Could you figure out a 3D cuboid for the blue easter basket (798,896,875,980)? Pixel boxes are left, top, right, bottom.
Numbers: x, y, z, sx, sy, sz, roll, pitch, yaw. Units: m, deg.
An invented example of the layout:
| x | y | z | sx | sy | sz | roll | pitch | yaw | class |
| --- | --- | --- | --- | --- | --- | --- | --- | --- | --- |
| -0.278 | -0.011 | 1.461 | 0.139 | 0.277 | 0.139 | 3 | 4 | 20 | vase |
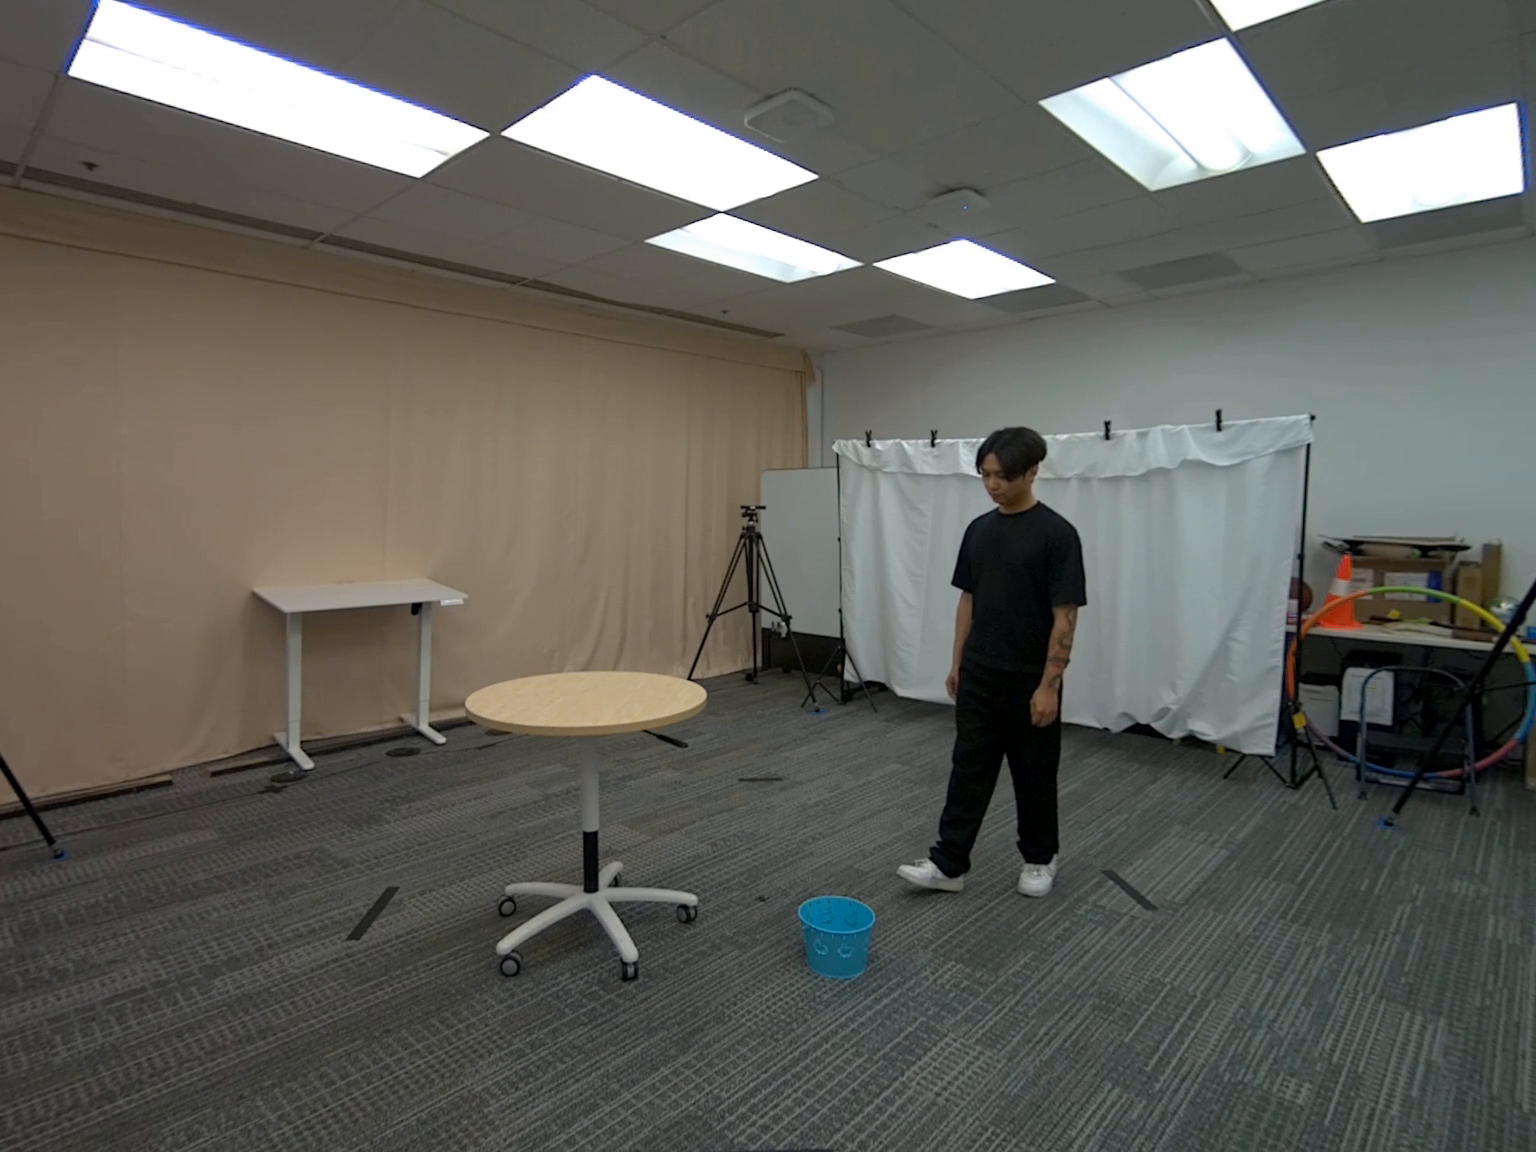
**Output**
| x | y | z | sx | sy | sz | roll | pitch | yaw | class |
| --- | --- | --- | --- | --- | --- | --- | --- | --- | --- |
| 0.213 | 1.099 | 2.566 | 0.243 | 0.155 | 0.244 | 1 | 4 | -2 | blue easter basket |
